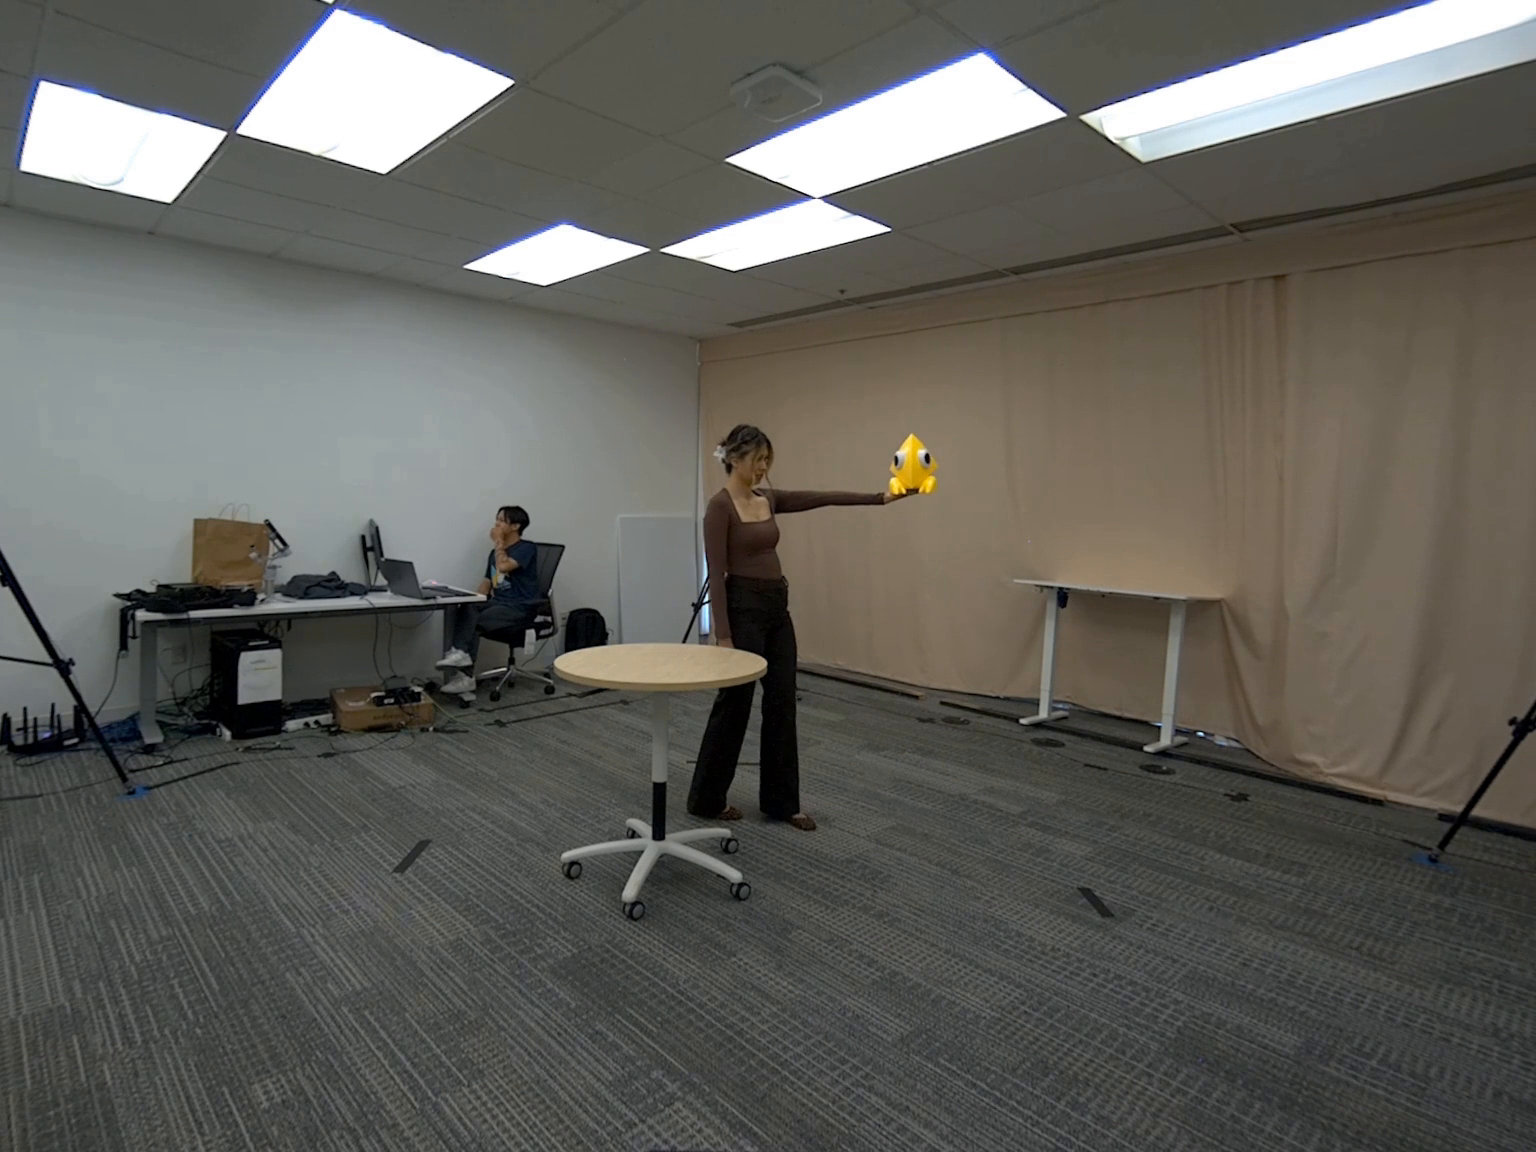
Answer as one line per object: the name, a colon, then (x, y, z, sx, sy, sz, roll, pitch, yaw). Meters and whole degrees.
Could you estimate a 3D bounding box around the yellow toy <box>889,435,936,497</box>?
yellow toy: (0.604, -0.480, 3.546, 0.207, 0.228, 0.193, -2, 15, 15)
